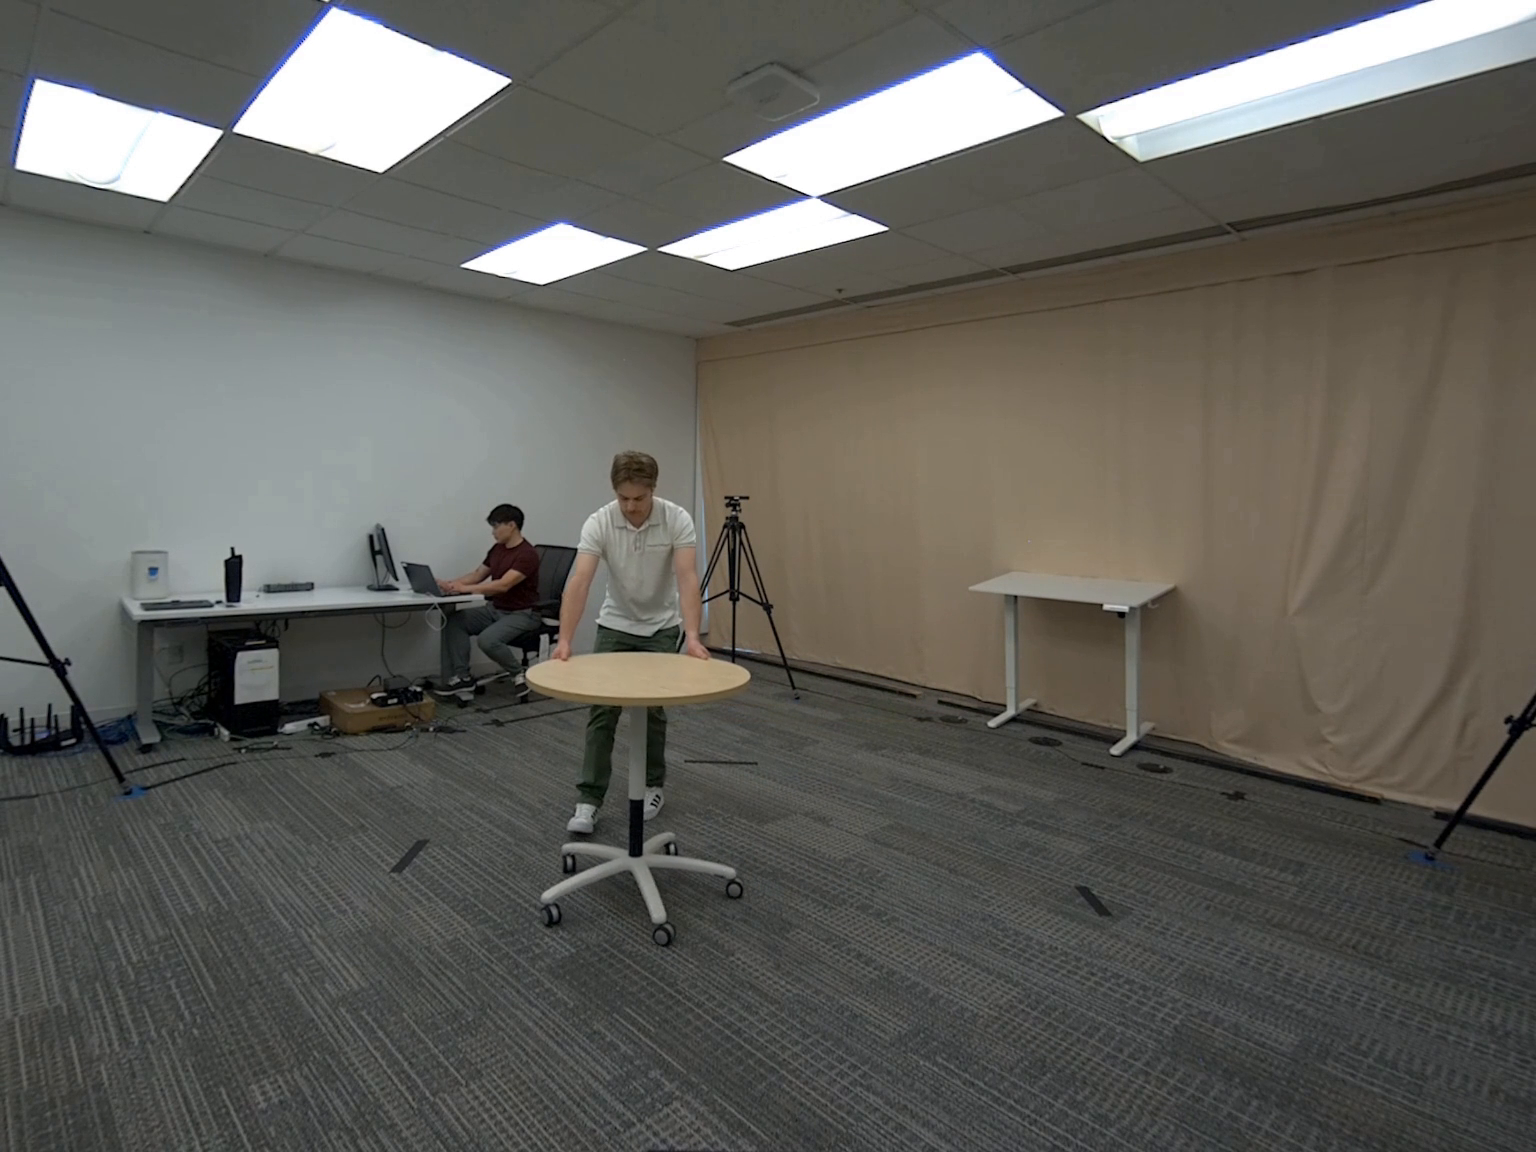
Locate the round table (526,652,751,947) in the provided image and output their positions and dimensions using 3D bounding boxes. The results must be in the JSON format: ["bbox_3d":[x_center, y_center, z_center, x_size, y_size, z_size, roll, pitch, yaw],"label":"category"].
[{"bbox_3d":[-0.467,0.718,2.931,0.784,0.785,0.787,1,4,-1],"label":"round table"}]
